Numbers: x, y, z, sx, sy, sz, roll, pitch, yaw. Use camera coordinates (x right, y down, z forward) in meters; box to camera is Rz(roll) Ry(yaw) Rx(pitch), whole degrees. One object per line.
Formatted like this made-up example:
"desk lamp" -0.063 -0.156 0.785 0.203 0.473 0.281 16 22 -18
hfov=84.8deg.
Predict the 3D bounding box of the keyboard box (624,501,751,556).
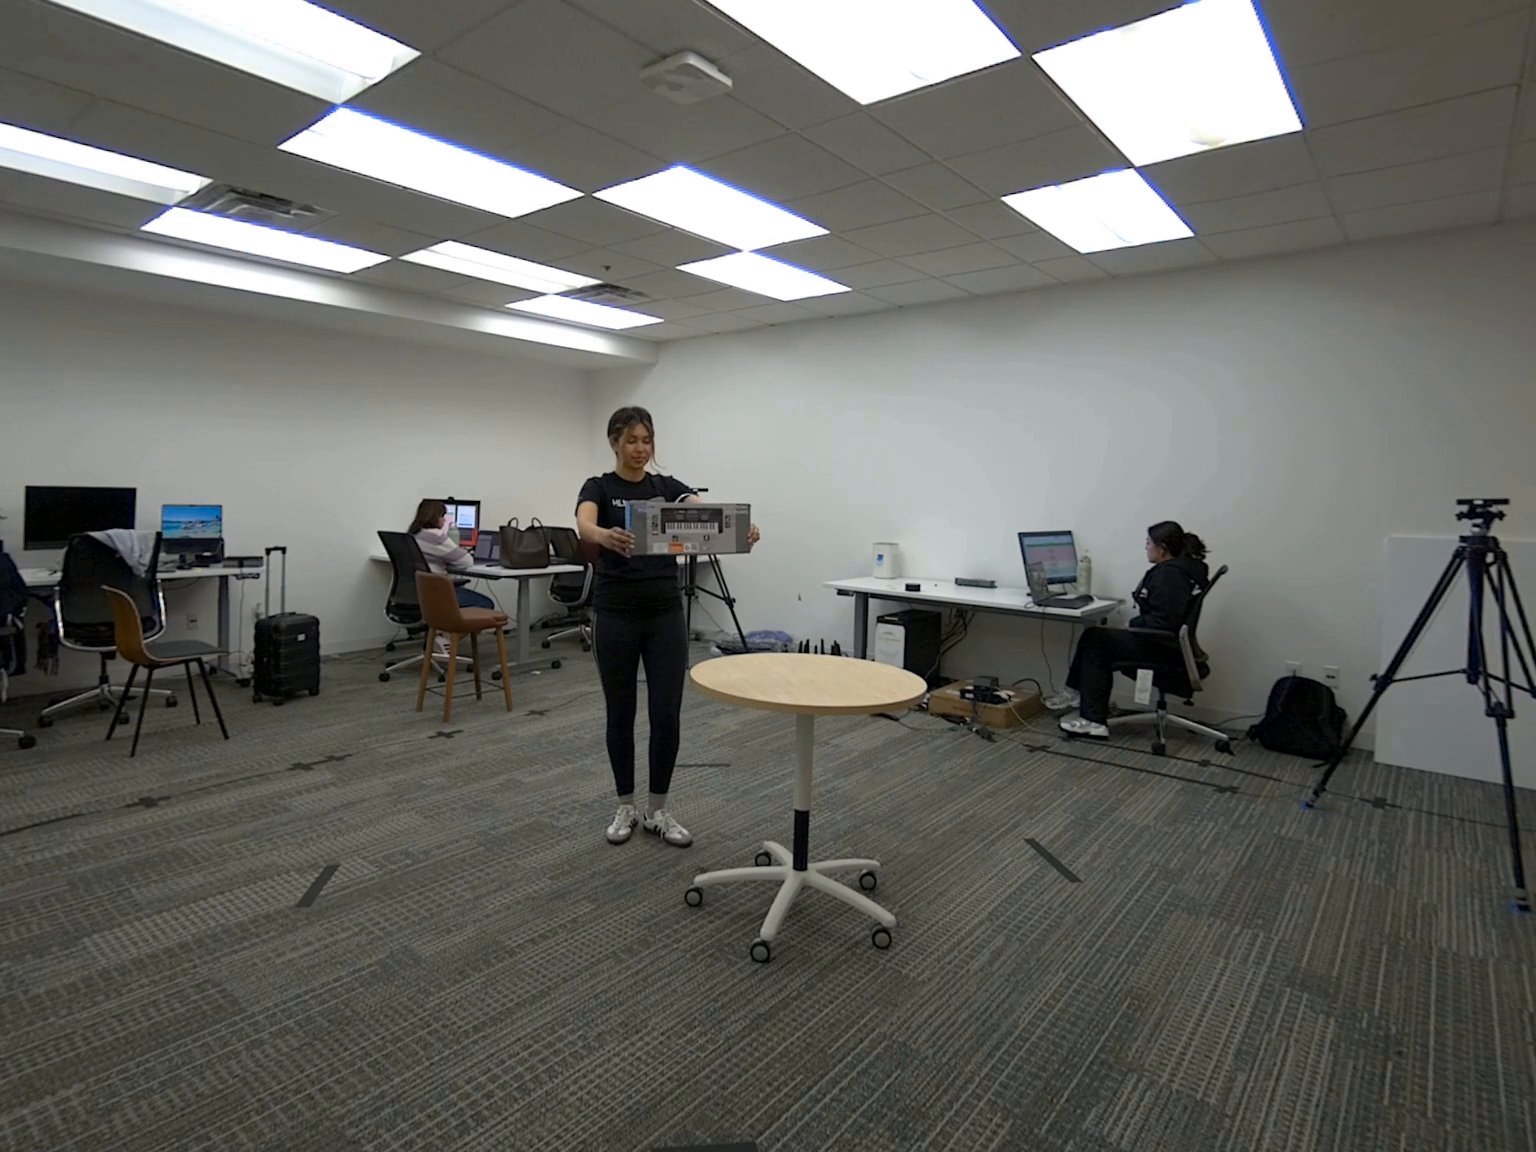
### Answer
"keyboard box" -0.278 -0.164 2.880 0.427 0.176 0.060 -1 -1 -24
